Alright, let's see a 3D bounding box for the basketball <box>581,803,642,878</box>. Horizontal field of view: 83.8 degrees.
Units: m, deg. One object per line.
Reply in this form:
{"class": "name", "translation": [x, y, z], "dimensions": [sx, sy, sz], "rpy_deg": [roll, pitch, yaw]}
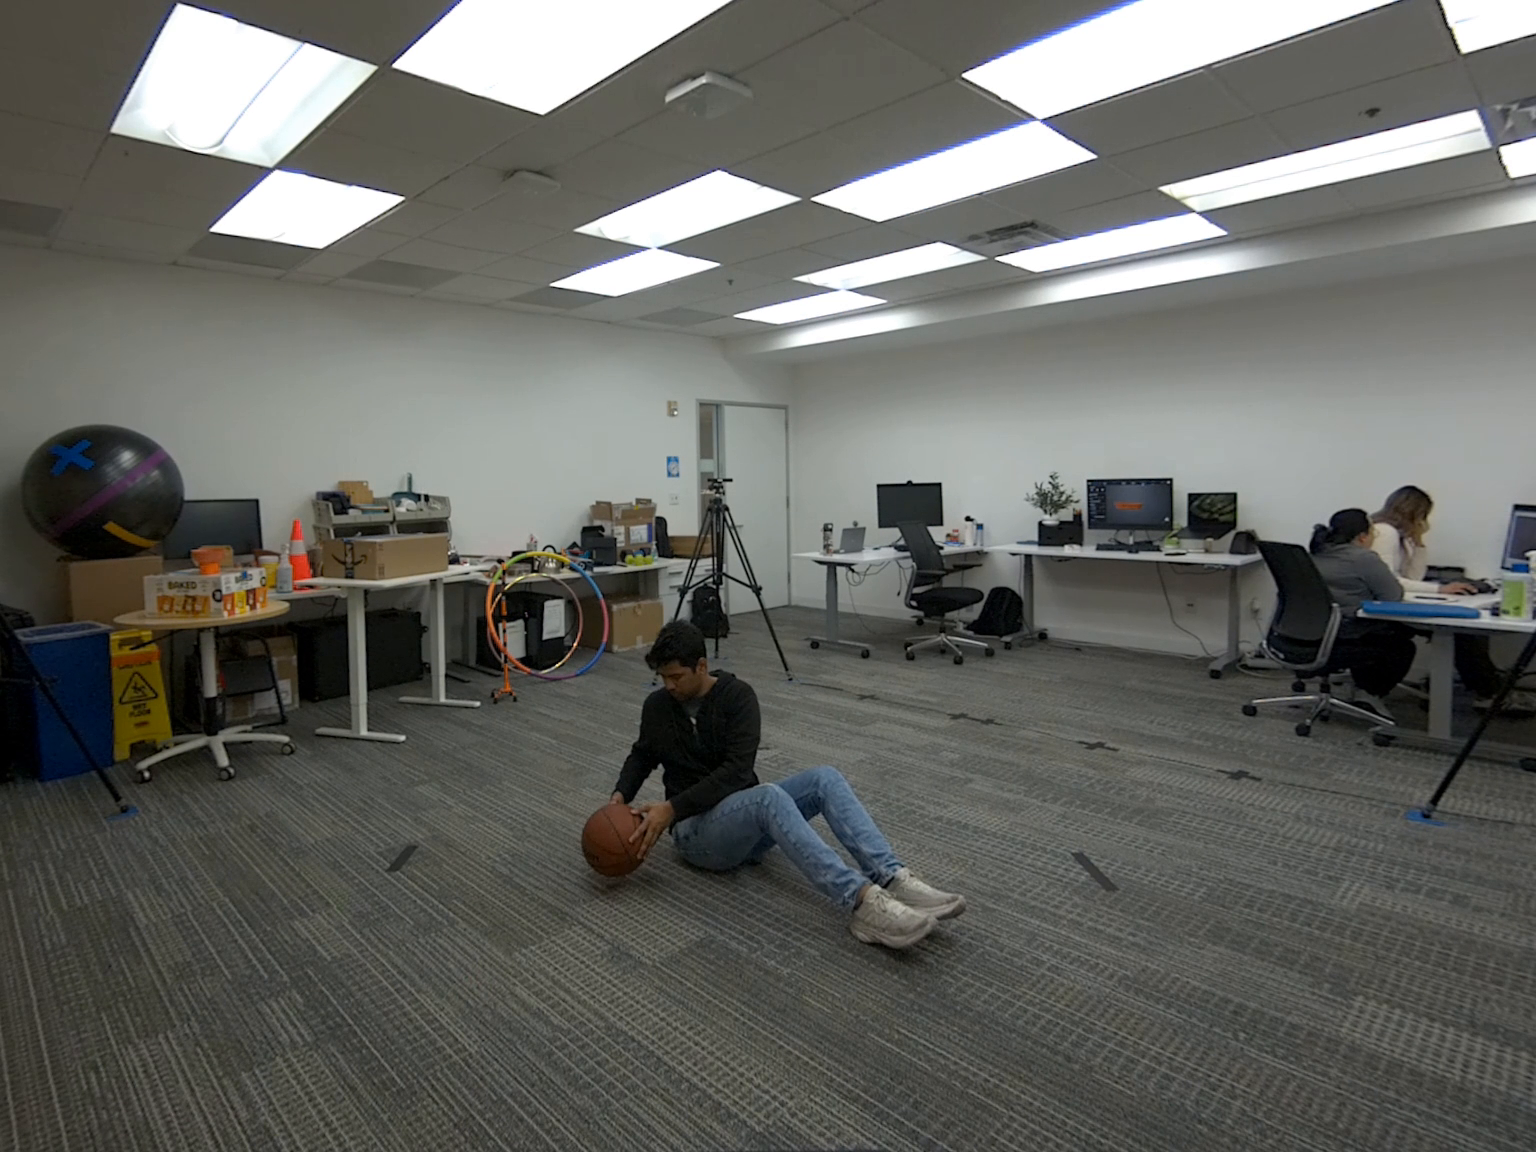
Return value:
{"class": "basketball", "translation": [-0.518, 0.905, 2.935], "dimensions": [0.236, 0.235, 0.237], "rpy_deg": [-1, 5, -2]}
